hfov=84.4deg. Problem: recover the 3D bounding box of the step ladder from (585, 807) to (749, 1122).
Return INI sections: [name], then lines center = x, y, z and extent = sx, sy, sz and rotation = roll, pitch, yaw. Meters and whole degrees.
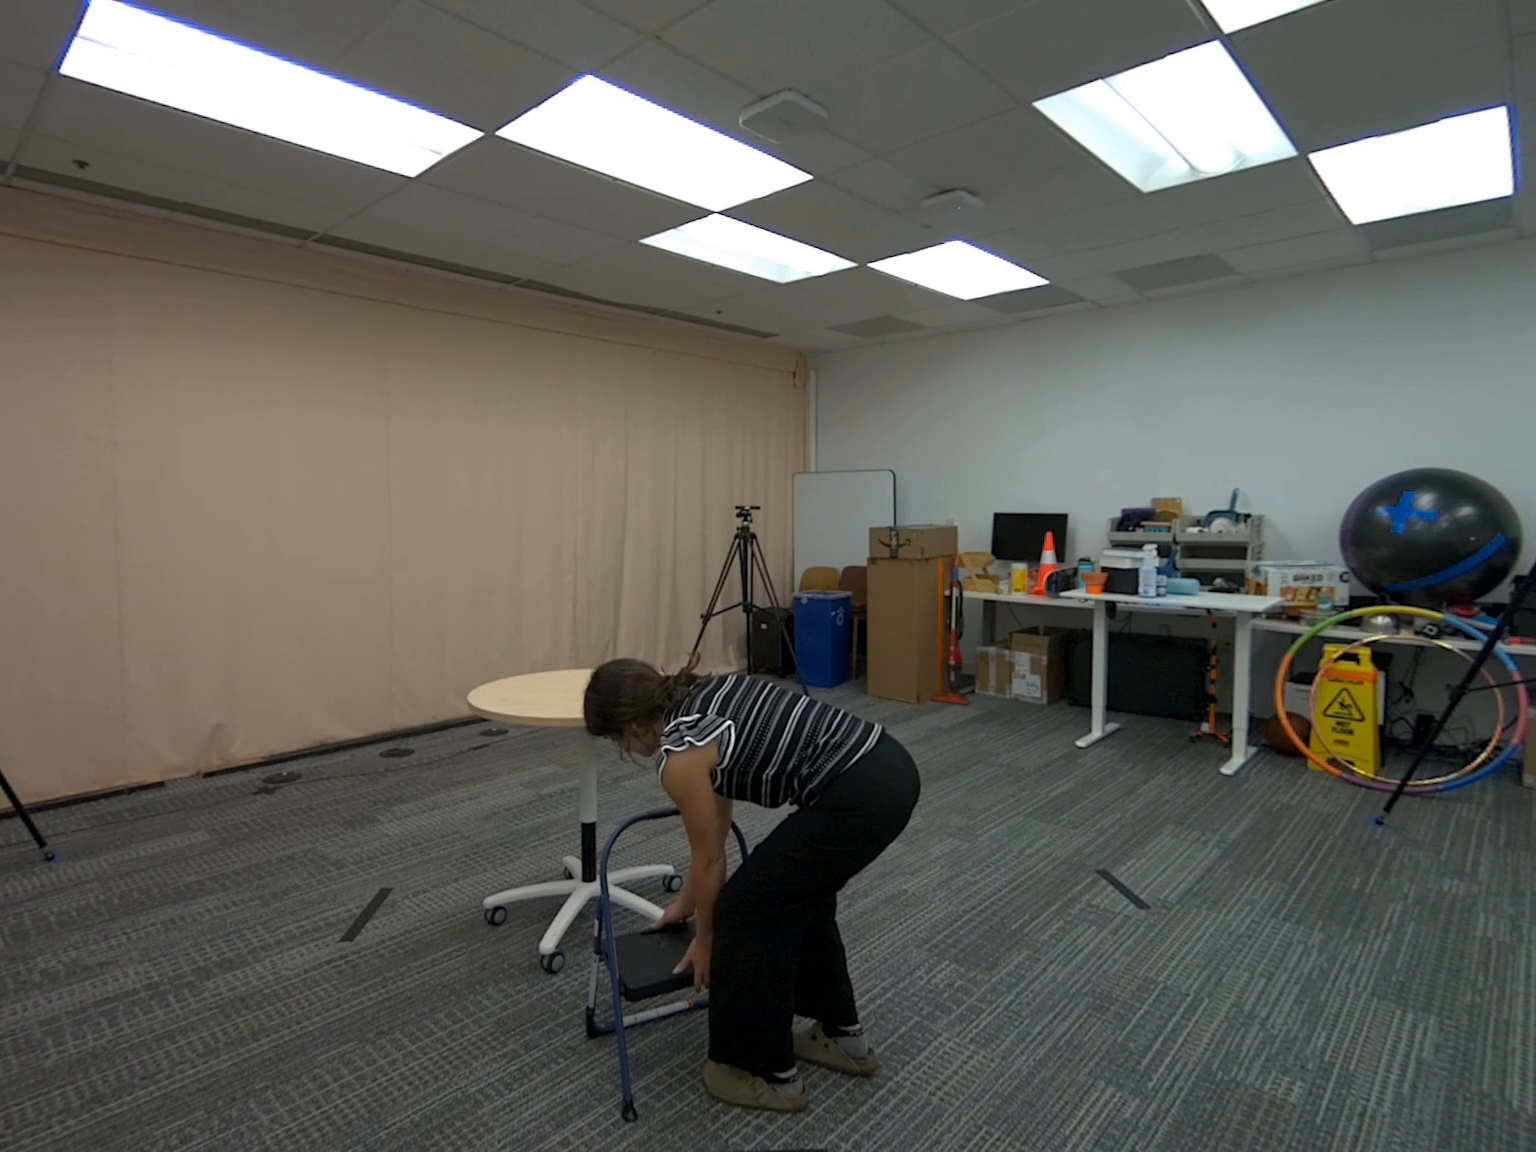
[step ladder]
center = -0.222, 0.916, 2.136
extent = 0.420, 0.604, 0.359
rotation = -2, 4, -27
